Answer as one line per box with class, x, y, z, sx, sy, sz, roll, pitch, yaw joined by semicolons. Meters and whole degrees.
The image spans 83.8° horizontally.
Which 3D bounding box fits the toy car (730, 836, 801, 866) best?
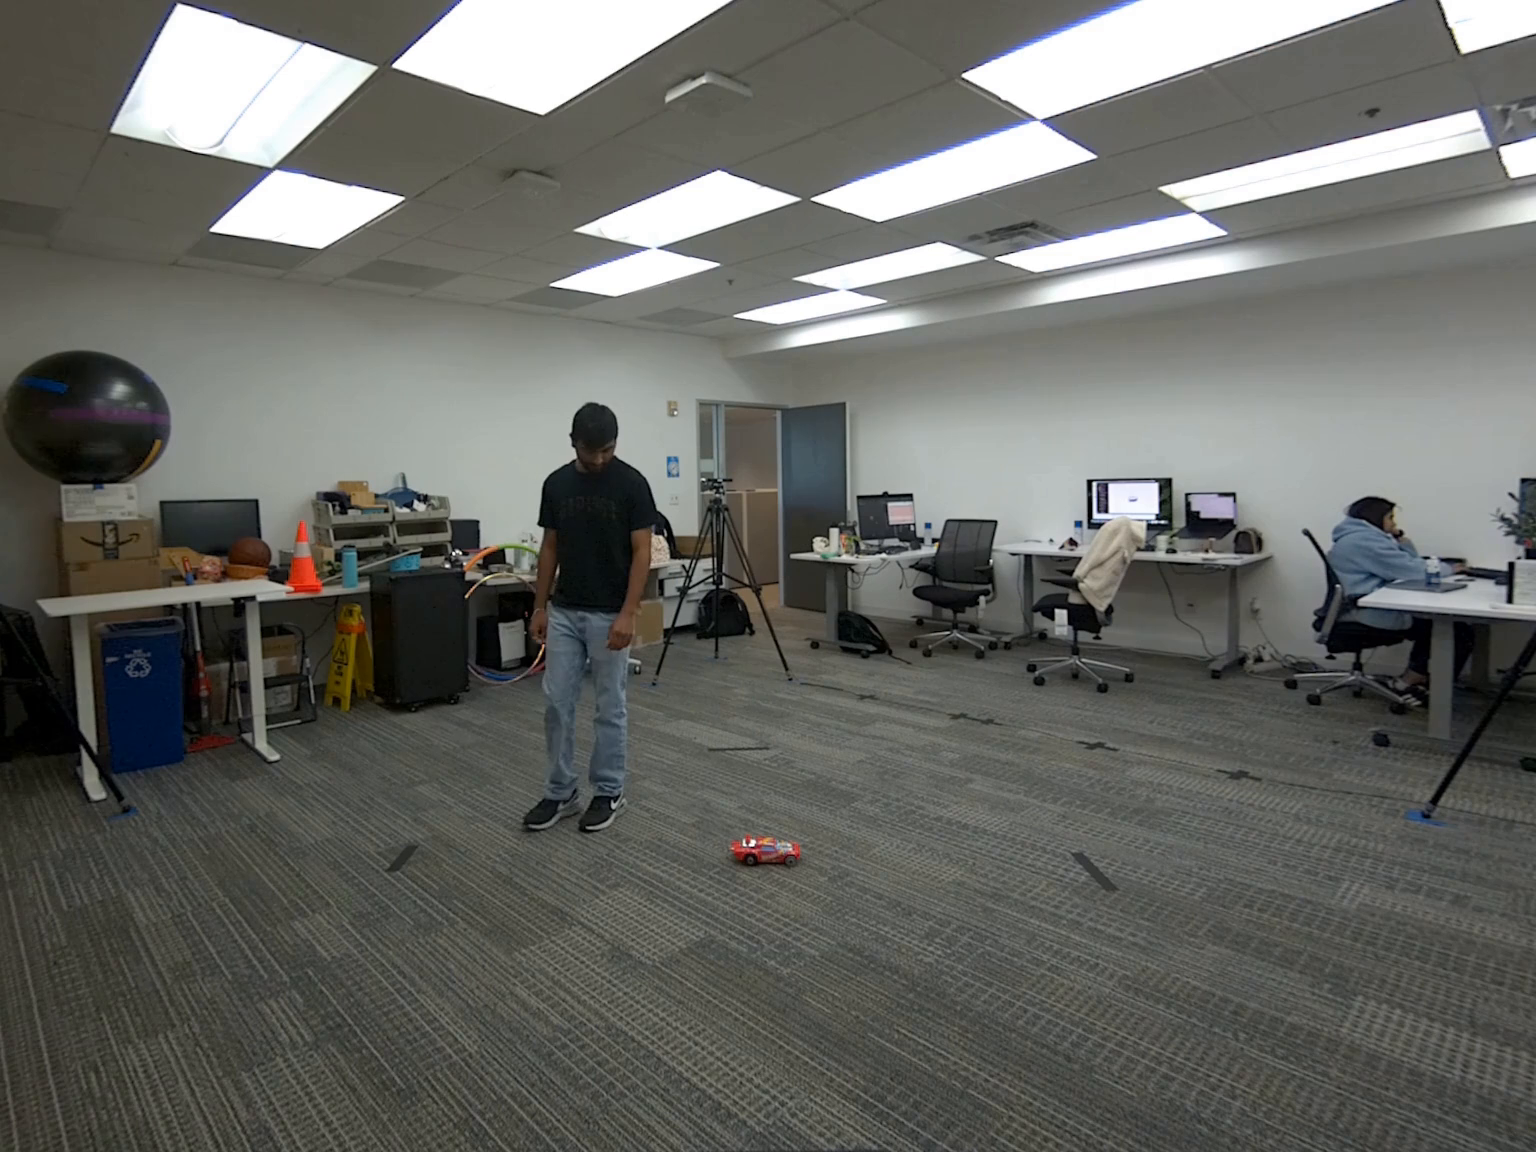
toy car;-0.010;1.011;3.127;0.256;0.083;0.130;10;5;3
